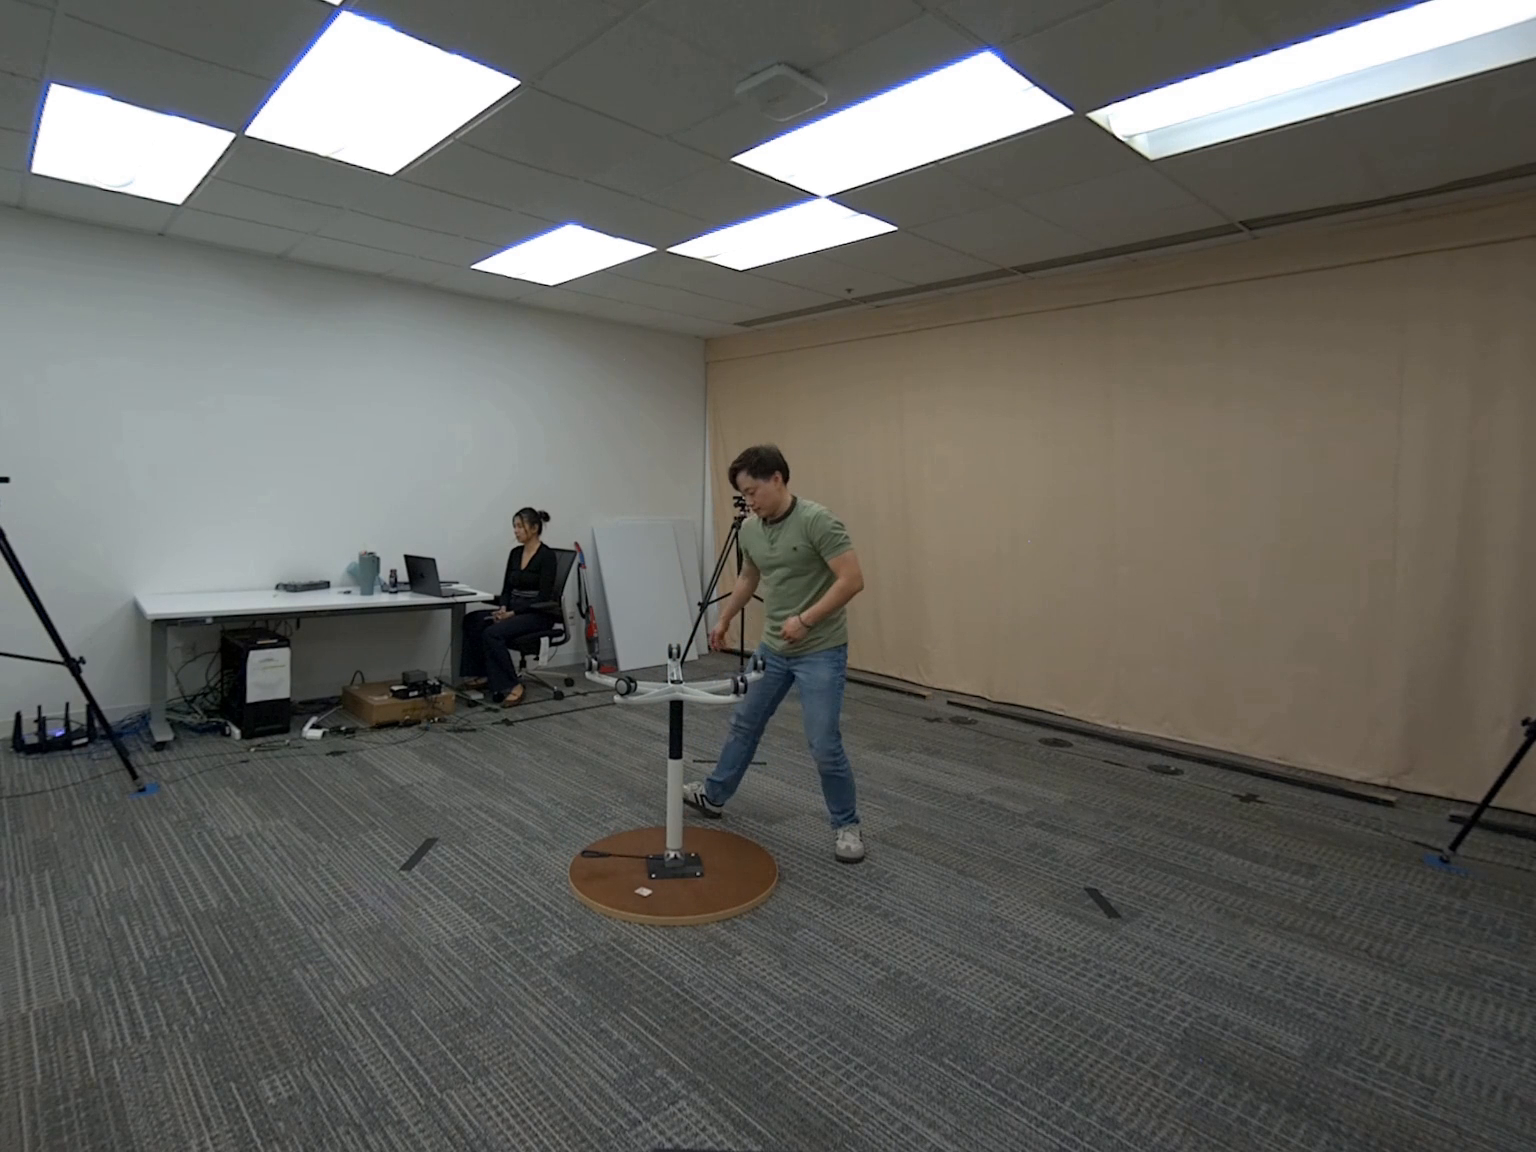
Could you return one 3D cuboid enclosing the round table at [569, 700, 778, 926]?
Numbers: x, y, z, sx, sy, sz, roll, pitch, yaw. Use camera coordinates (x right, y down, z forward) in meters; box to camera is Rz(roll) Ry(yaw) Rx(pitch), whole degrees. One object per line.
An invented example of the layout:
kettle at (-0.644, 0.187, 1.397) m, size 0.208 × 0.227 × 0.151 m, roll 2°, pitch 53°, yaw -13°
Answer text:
round table at (-0.349, 0.706, 3.083) m, size 0.763 × 0.792 × 0.767 m, roll 2°, pitch 4°, yaw -1°
